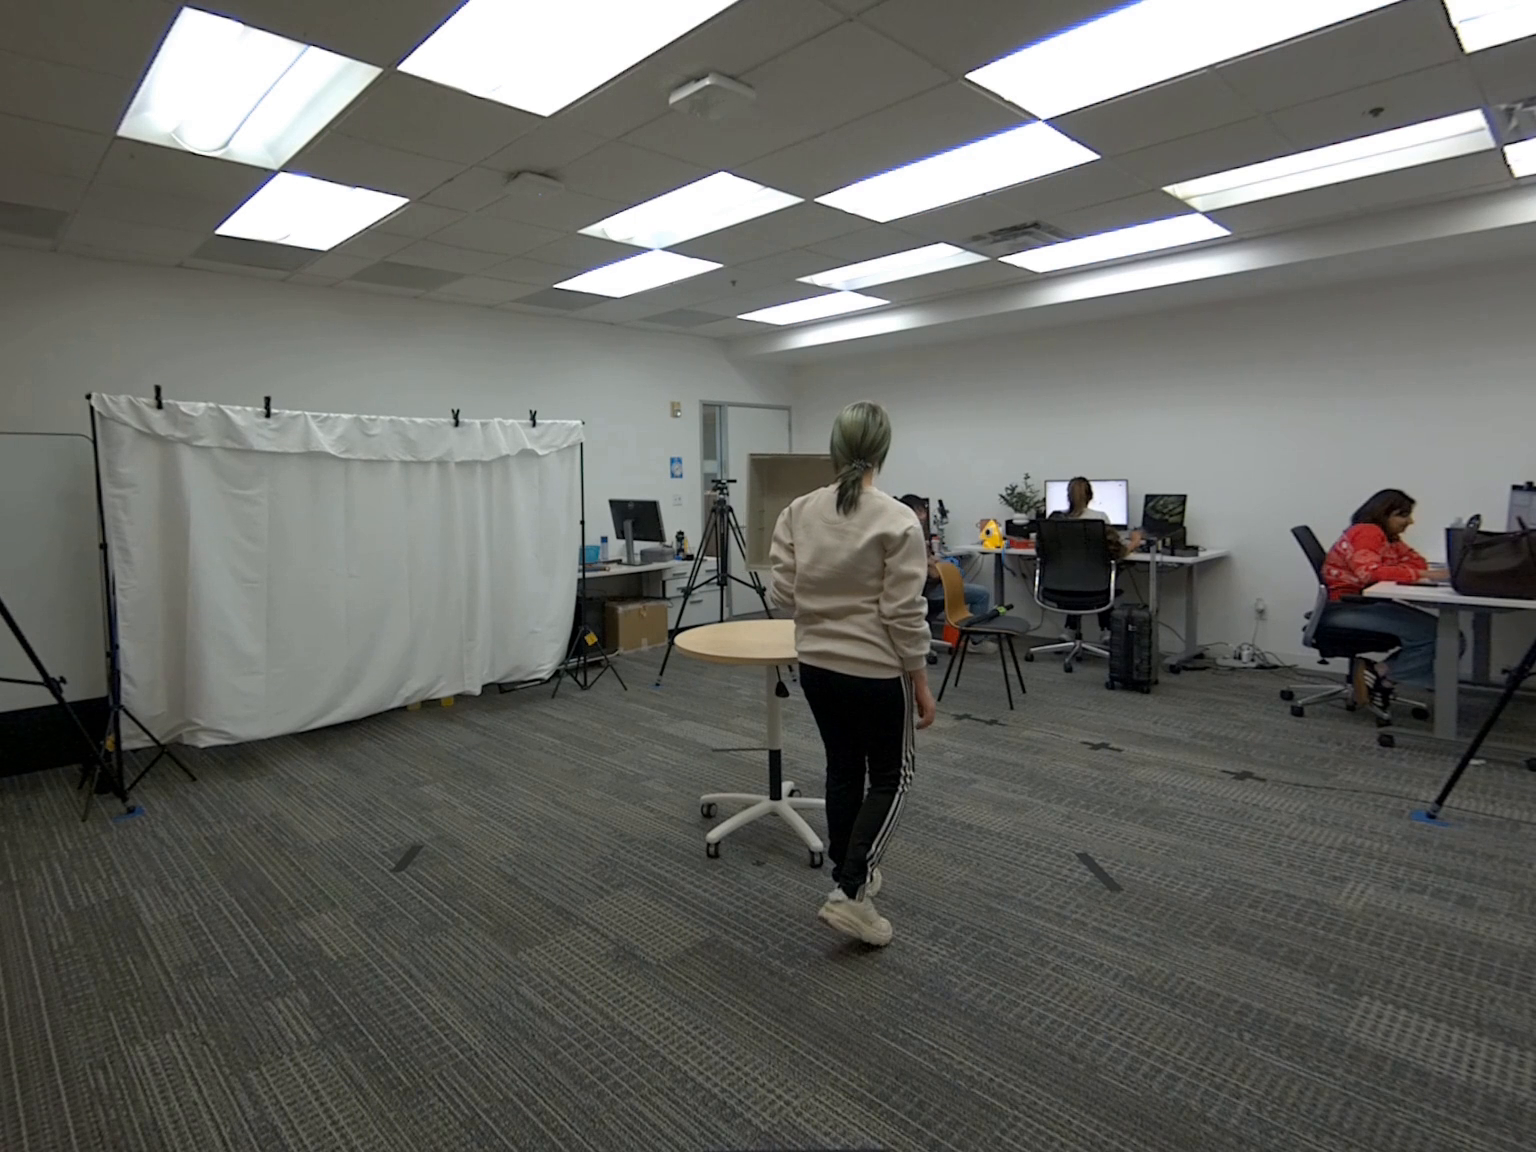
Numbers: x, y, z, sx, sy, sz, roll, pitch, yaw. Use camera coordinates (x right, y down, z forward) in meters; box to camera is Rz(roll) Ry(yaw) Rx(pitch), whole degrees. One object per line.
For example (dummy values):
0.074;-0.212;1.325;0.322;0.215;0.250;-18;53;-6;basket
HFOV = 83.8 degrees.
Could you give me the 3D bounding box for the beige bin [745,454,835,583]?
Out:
0.132;-0.228;3.056;0.385;0.421;0.185;3;4;22;beige bin
